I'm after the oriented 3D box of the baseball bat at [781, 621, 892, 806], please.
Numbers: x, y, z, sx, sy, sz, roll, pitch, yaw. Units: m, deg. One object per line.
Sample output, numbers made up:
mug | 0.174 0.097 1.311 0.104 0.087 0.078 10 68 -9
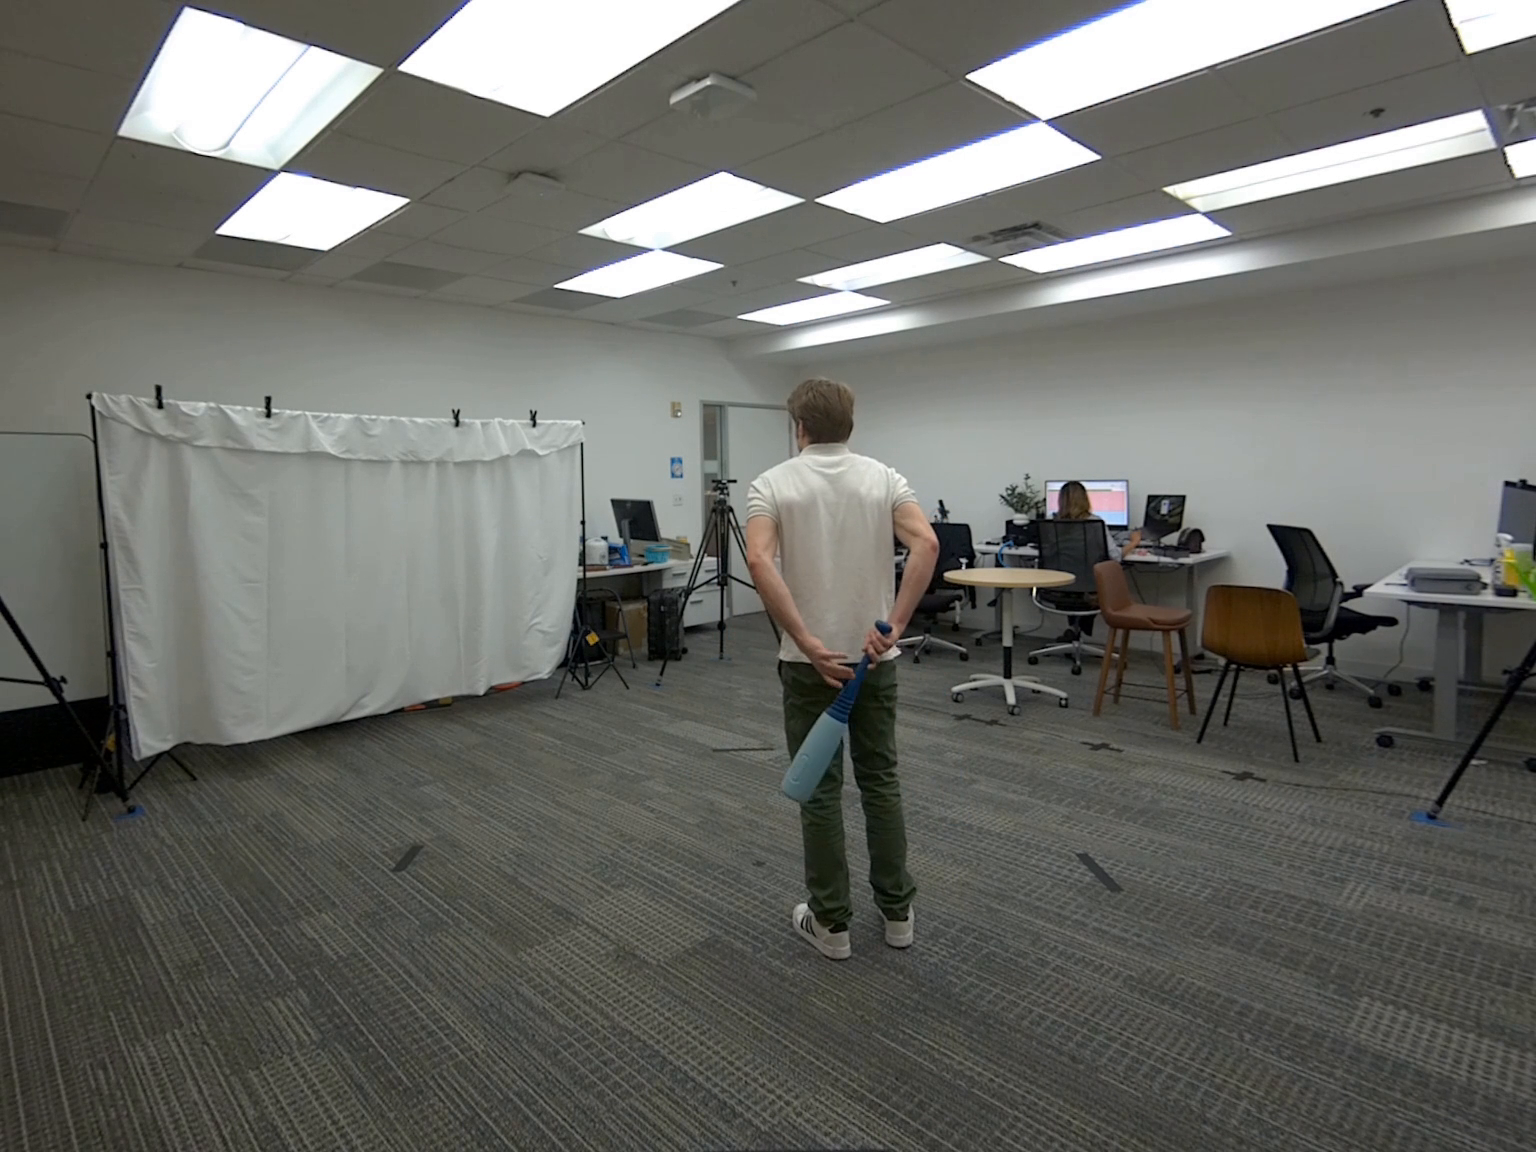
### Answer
baseball bat | 0.198 0.372 2.319 0.089 0.542 0.089 25 2 -3
